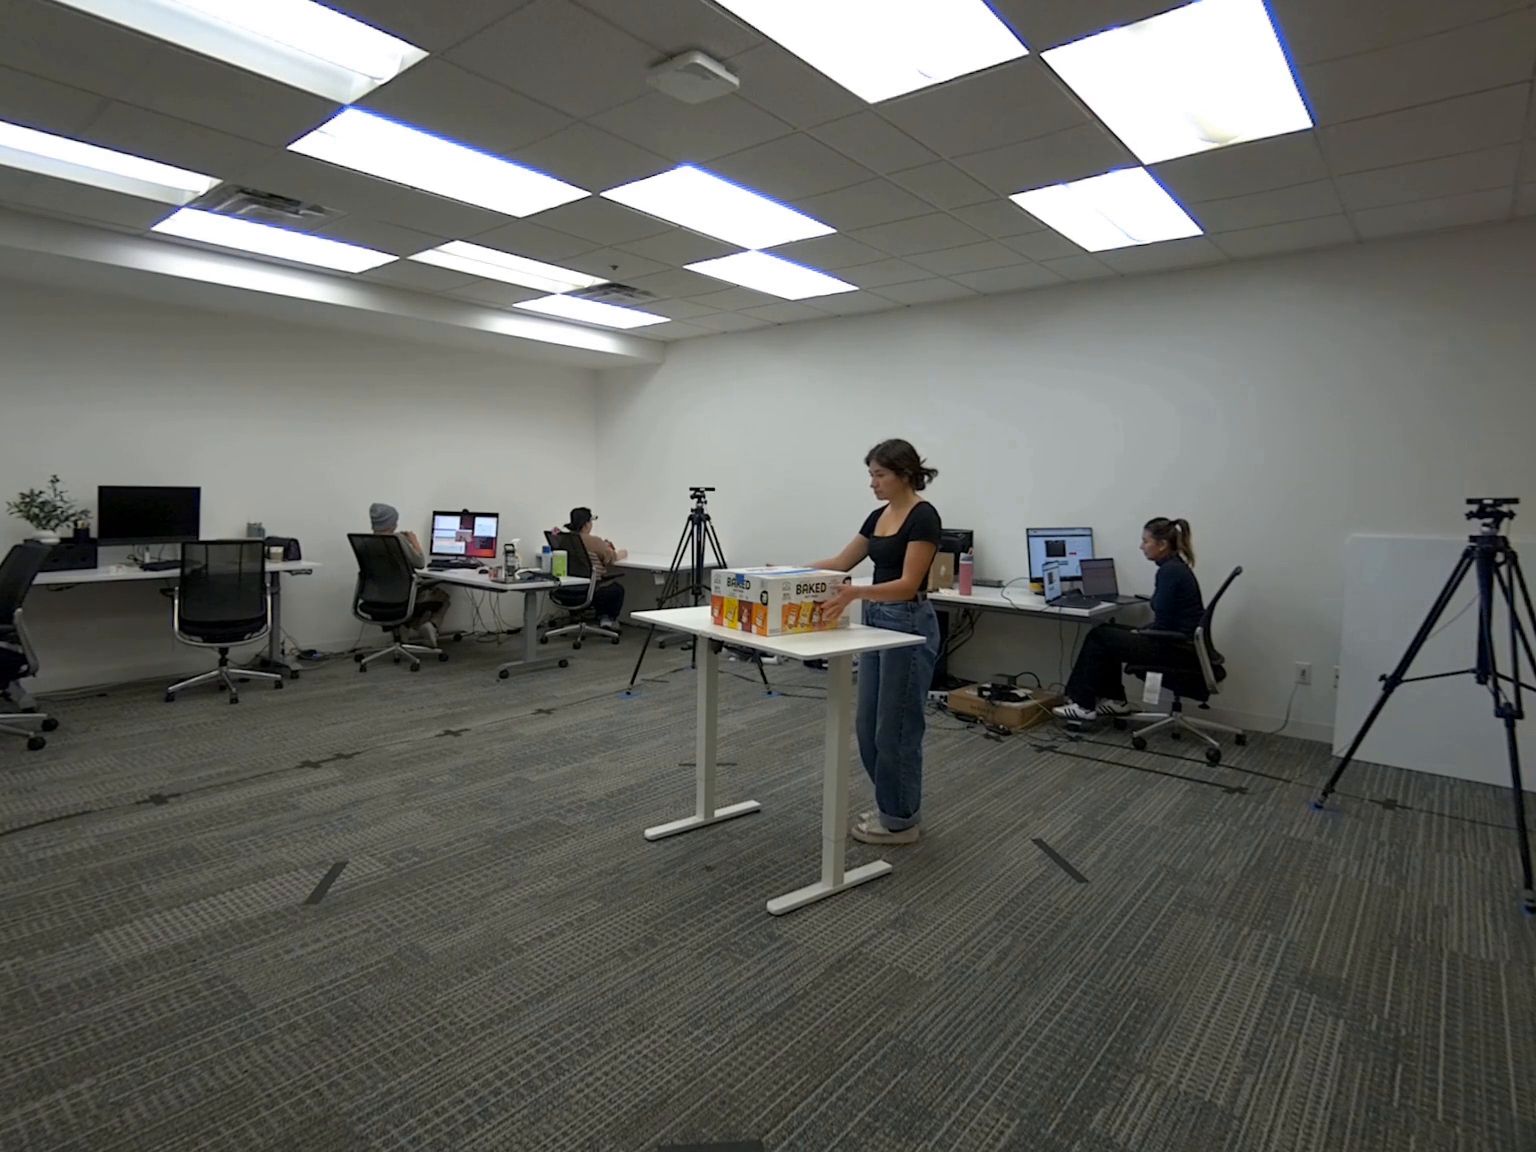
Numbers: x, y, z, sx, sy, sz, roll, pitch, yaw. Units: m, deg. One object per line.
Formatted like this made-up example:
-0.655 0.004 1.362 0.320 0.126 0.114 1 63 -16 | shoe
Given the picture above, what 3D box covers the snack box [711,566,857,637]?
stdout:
0.034 0.080 3.176 0.393 0.205 0.352 -3 7 -39 | snack box
